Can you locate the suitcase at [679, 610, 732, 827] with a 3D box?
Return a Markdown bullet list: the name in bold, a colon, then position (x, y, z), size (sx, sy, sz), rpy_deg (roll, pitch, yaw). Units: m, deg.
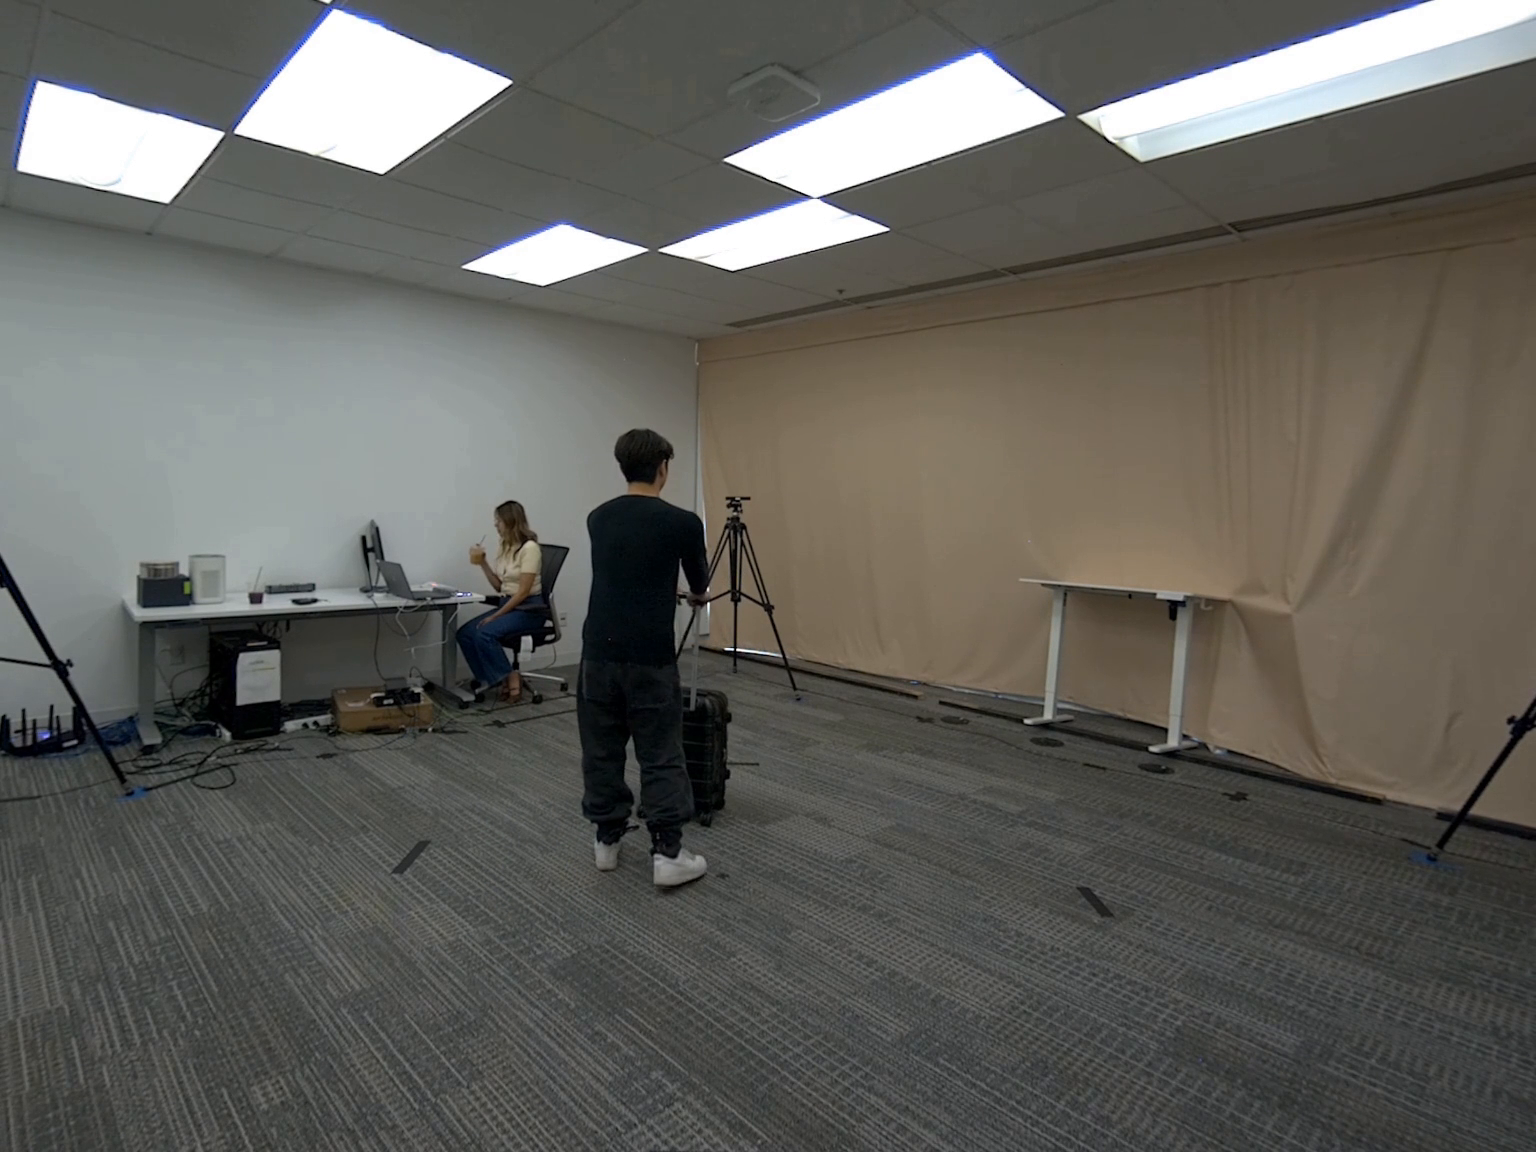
- **suitcase**: position (-0.364, 0.575, 3.732), size (0.389, 0.979, 0.253), rpy_deg (3, 0, 16)
